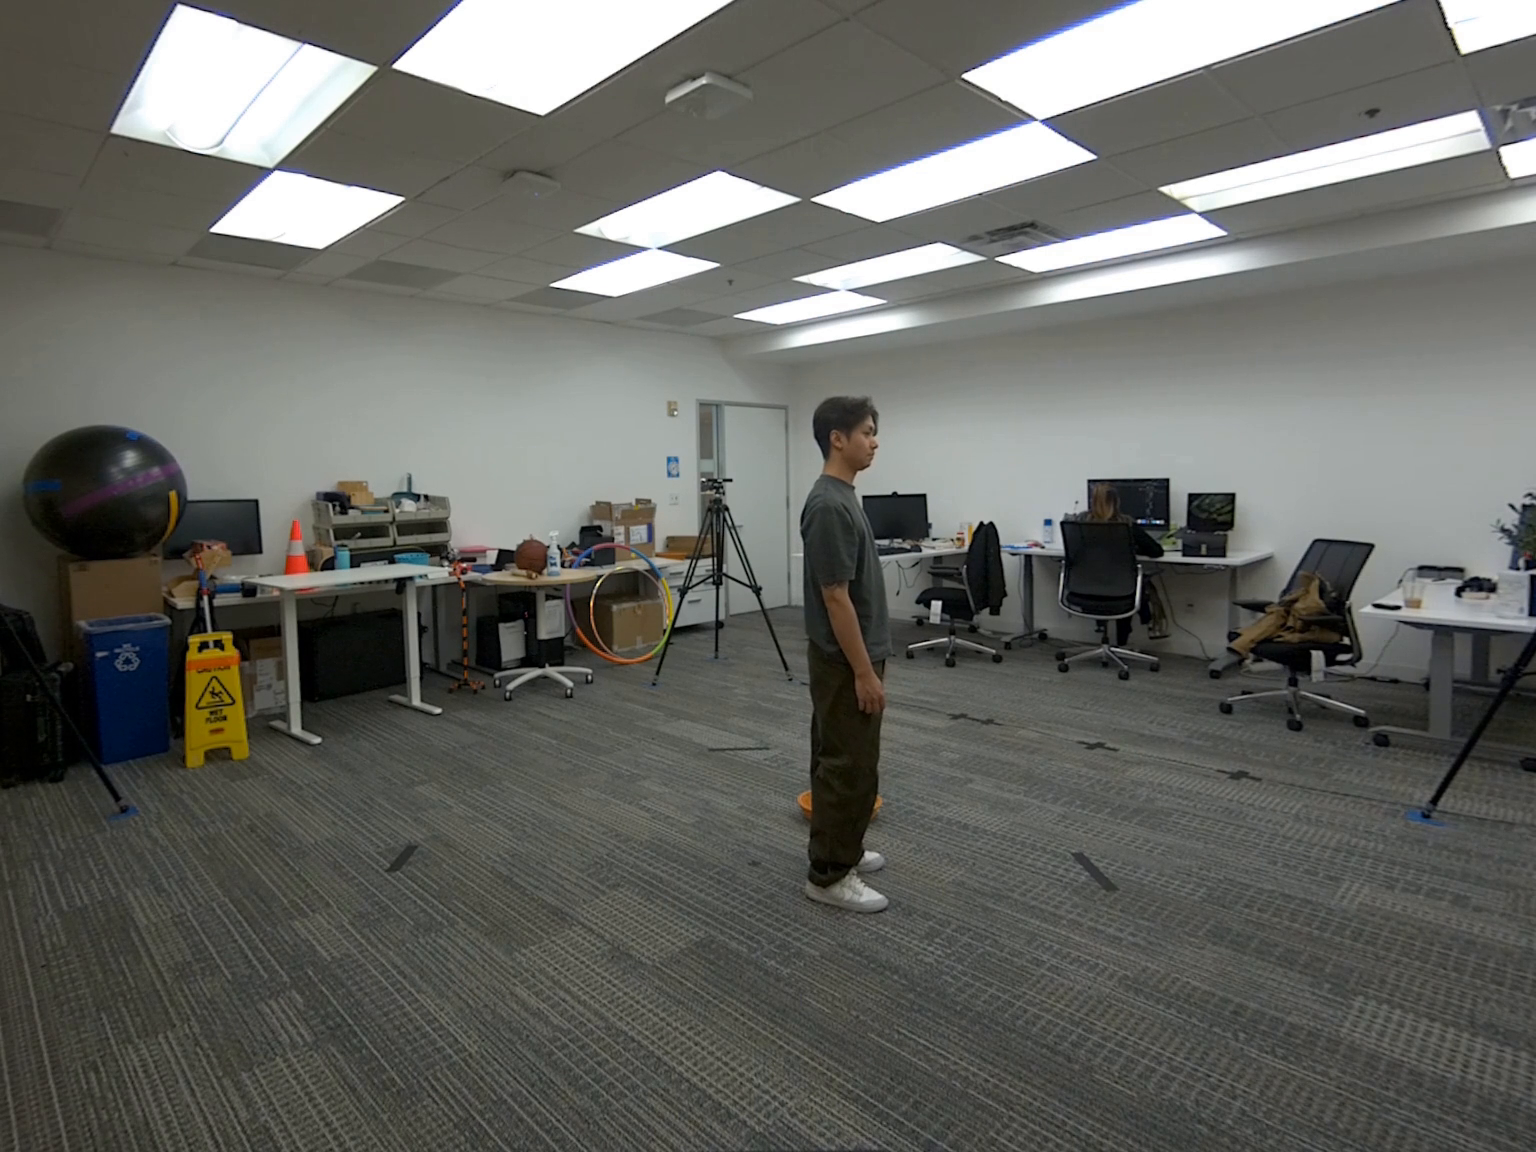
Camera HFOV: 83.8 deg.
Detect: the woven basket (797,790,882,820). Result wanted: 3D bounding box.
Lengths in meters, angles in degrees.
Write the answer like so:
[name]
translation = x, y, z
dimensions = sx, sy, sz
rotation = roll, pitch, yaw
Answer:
[woven basket]
translation = 0.301, 0.958, 3.526
dimensions = 0.349, 0.073, 0.255
rotation = -1, 7, -4
